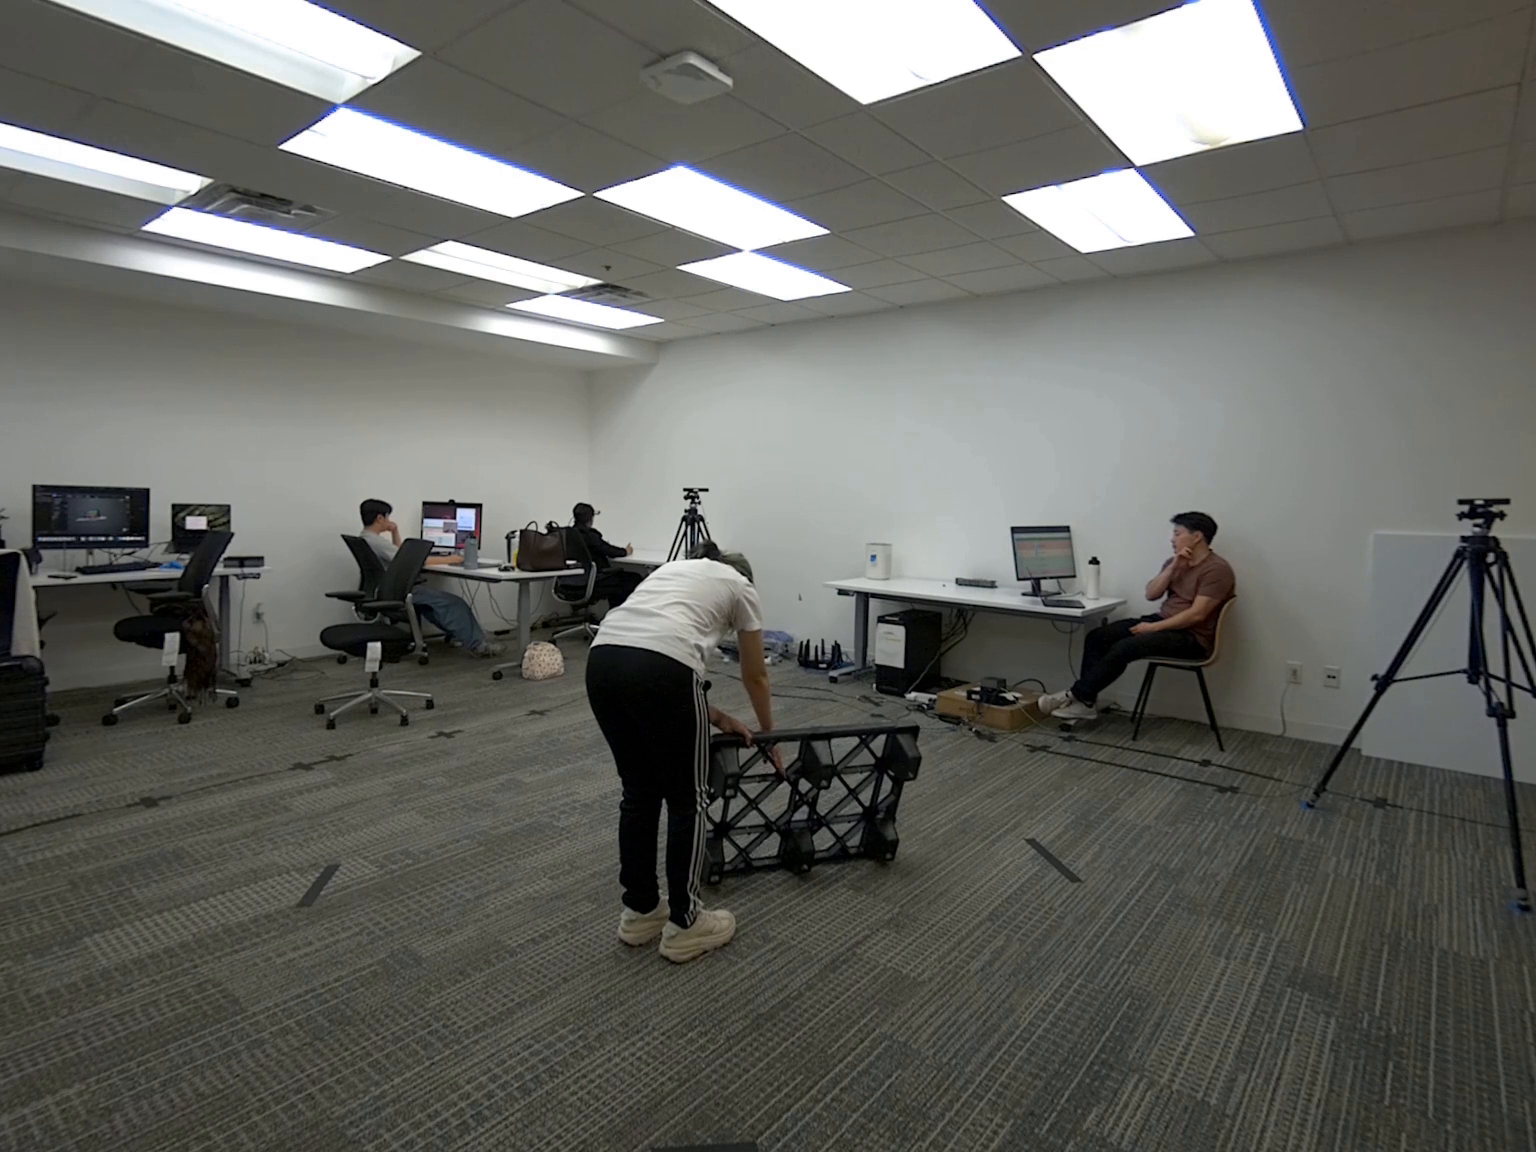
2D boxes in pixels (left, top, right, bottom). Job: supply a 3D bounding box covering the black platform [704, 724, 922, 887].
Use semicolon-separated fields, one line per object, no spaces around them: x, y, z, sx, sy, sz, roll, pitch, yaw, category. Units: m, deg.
0.138;0.813;3.013;0.790;0.595;0.149;0;25;-19;black platform
